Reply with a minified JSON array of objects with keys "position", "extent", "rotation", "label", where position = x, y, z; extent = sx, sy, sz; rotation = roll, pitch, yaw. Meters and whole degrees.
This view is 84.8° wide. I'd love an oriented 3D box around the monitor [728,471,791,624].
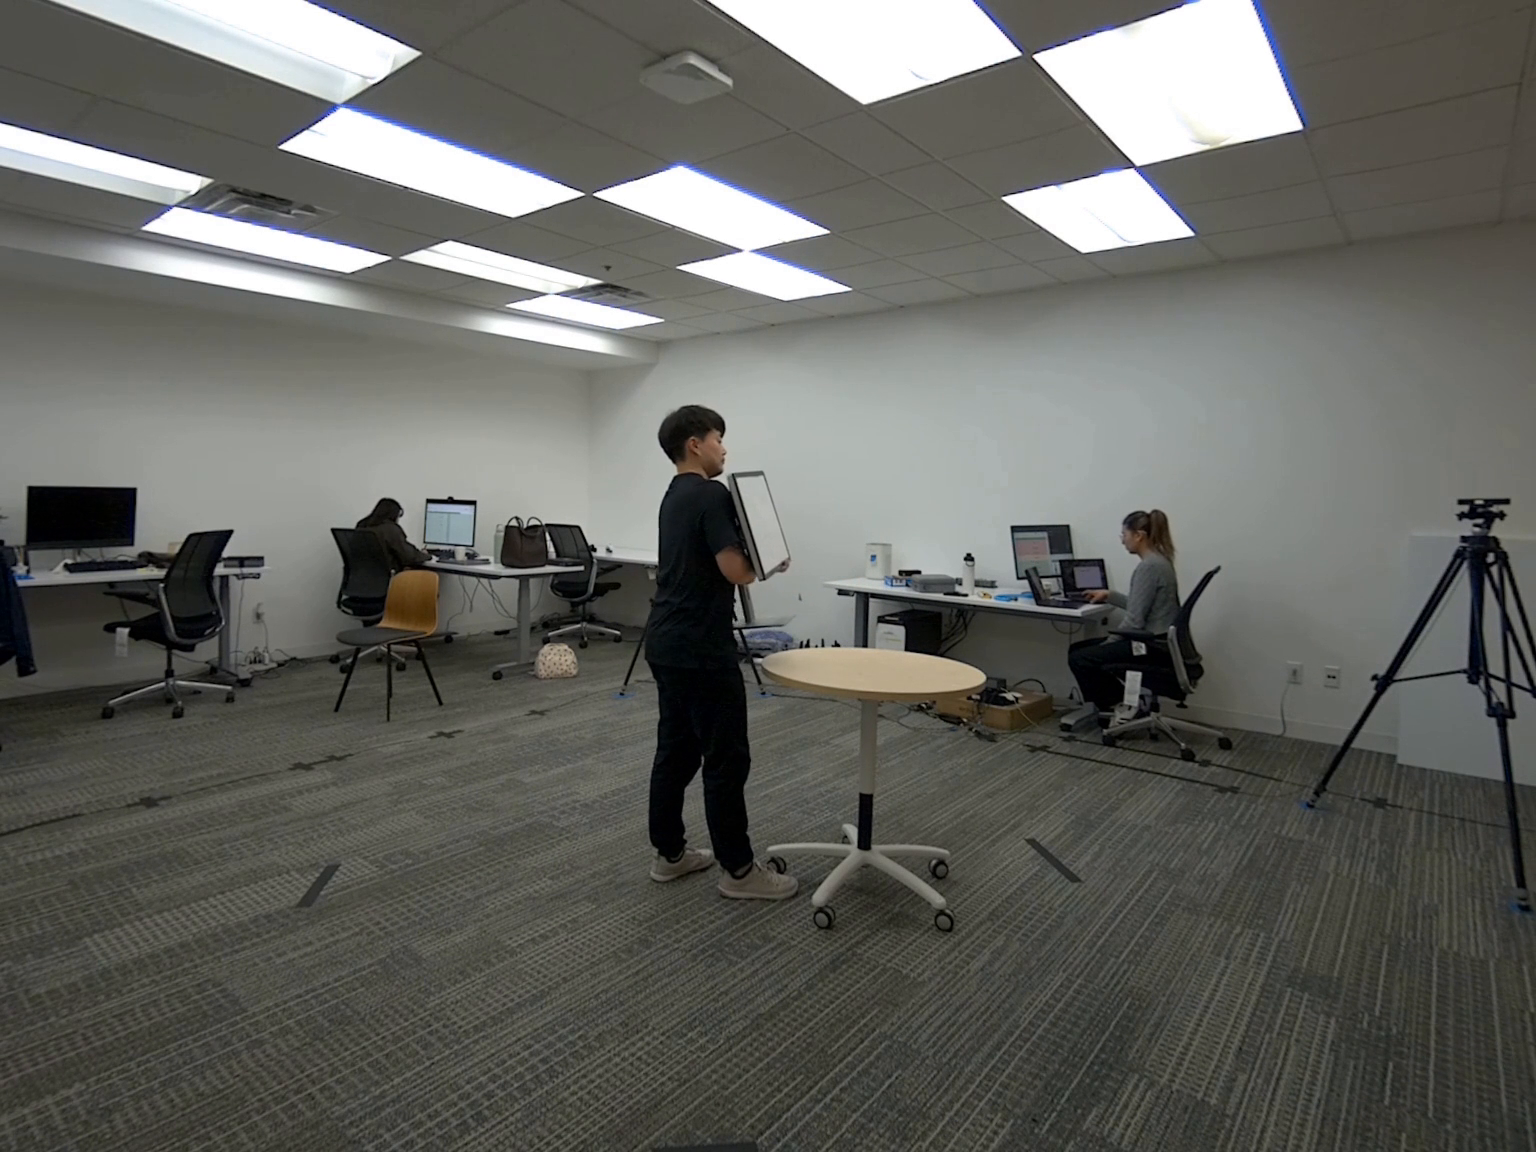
[{"position":[-0.055,-0.094,3.024],"extent":[0.189,0.520,0.536],"rotation":[-6,5,10],"label":"monitor"}]
